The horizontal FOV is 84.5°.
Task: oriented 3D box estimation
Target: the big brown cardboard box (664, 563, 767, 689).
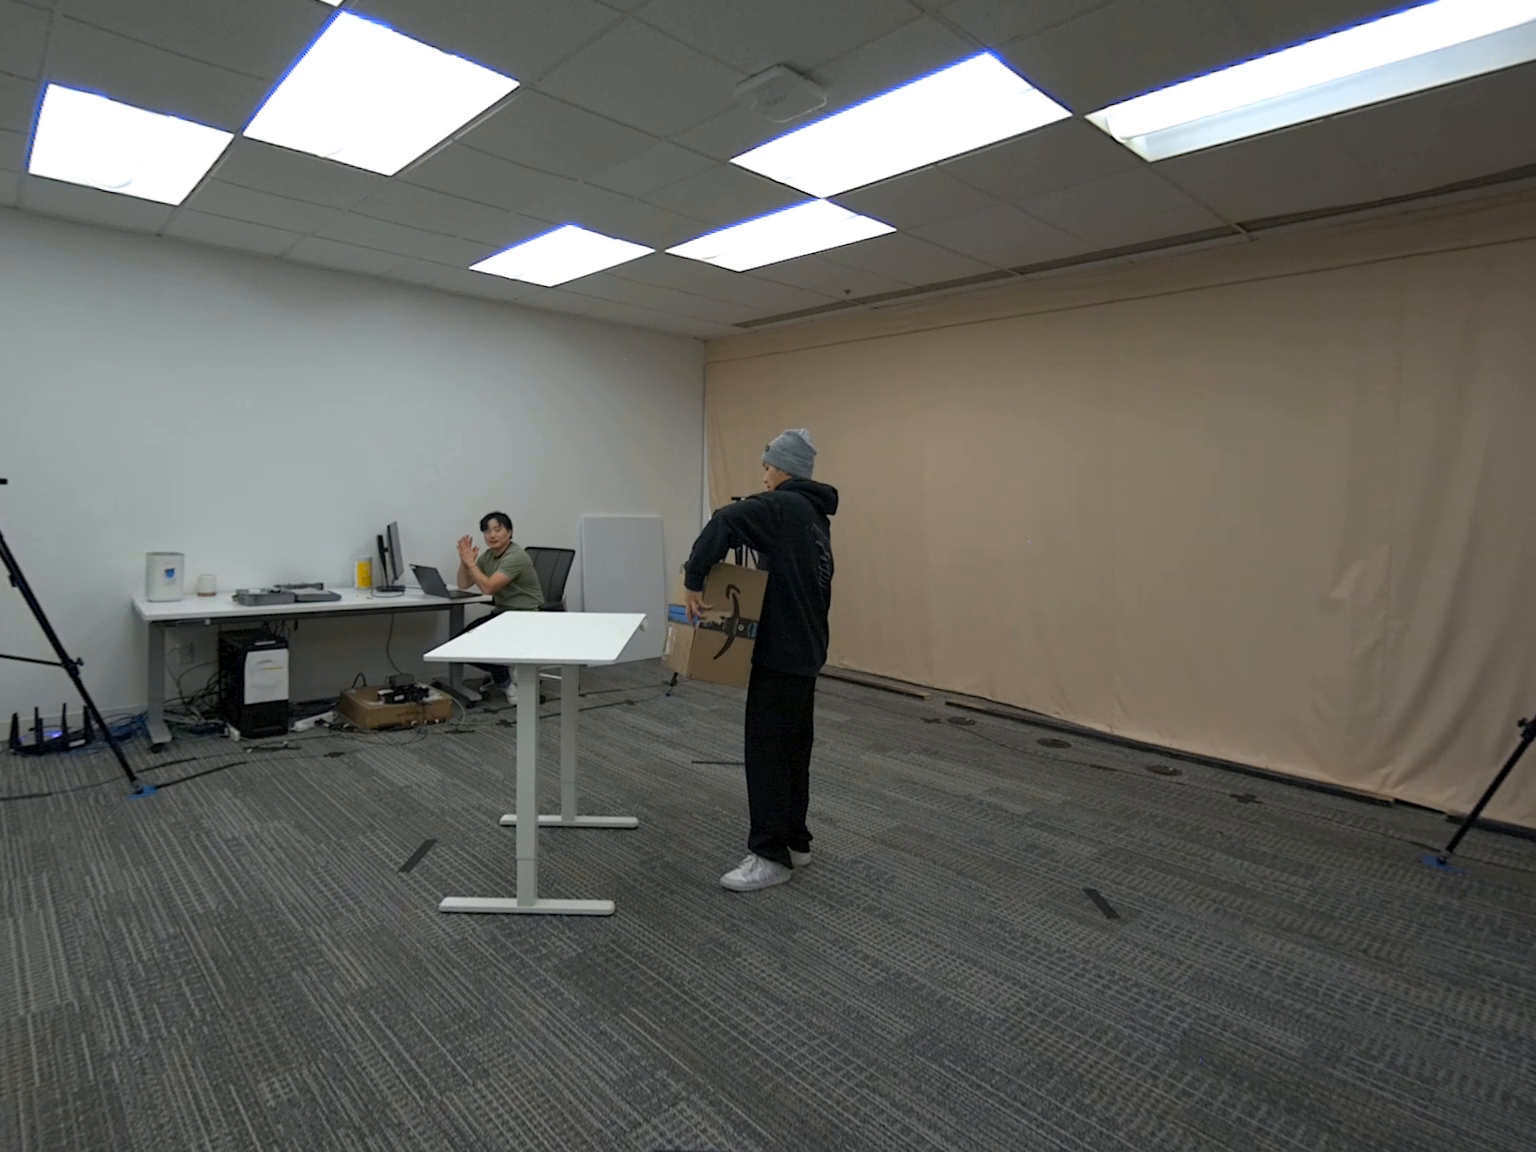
[{"bbox_3d":[-0.222,0.161,3.180,0.230,0.418,0.596,11,-4,-17],"label":"big brown cardboard box"}]
